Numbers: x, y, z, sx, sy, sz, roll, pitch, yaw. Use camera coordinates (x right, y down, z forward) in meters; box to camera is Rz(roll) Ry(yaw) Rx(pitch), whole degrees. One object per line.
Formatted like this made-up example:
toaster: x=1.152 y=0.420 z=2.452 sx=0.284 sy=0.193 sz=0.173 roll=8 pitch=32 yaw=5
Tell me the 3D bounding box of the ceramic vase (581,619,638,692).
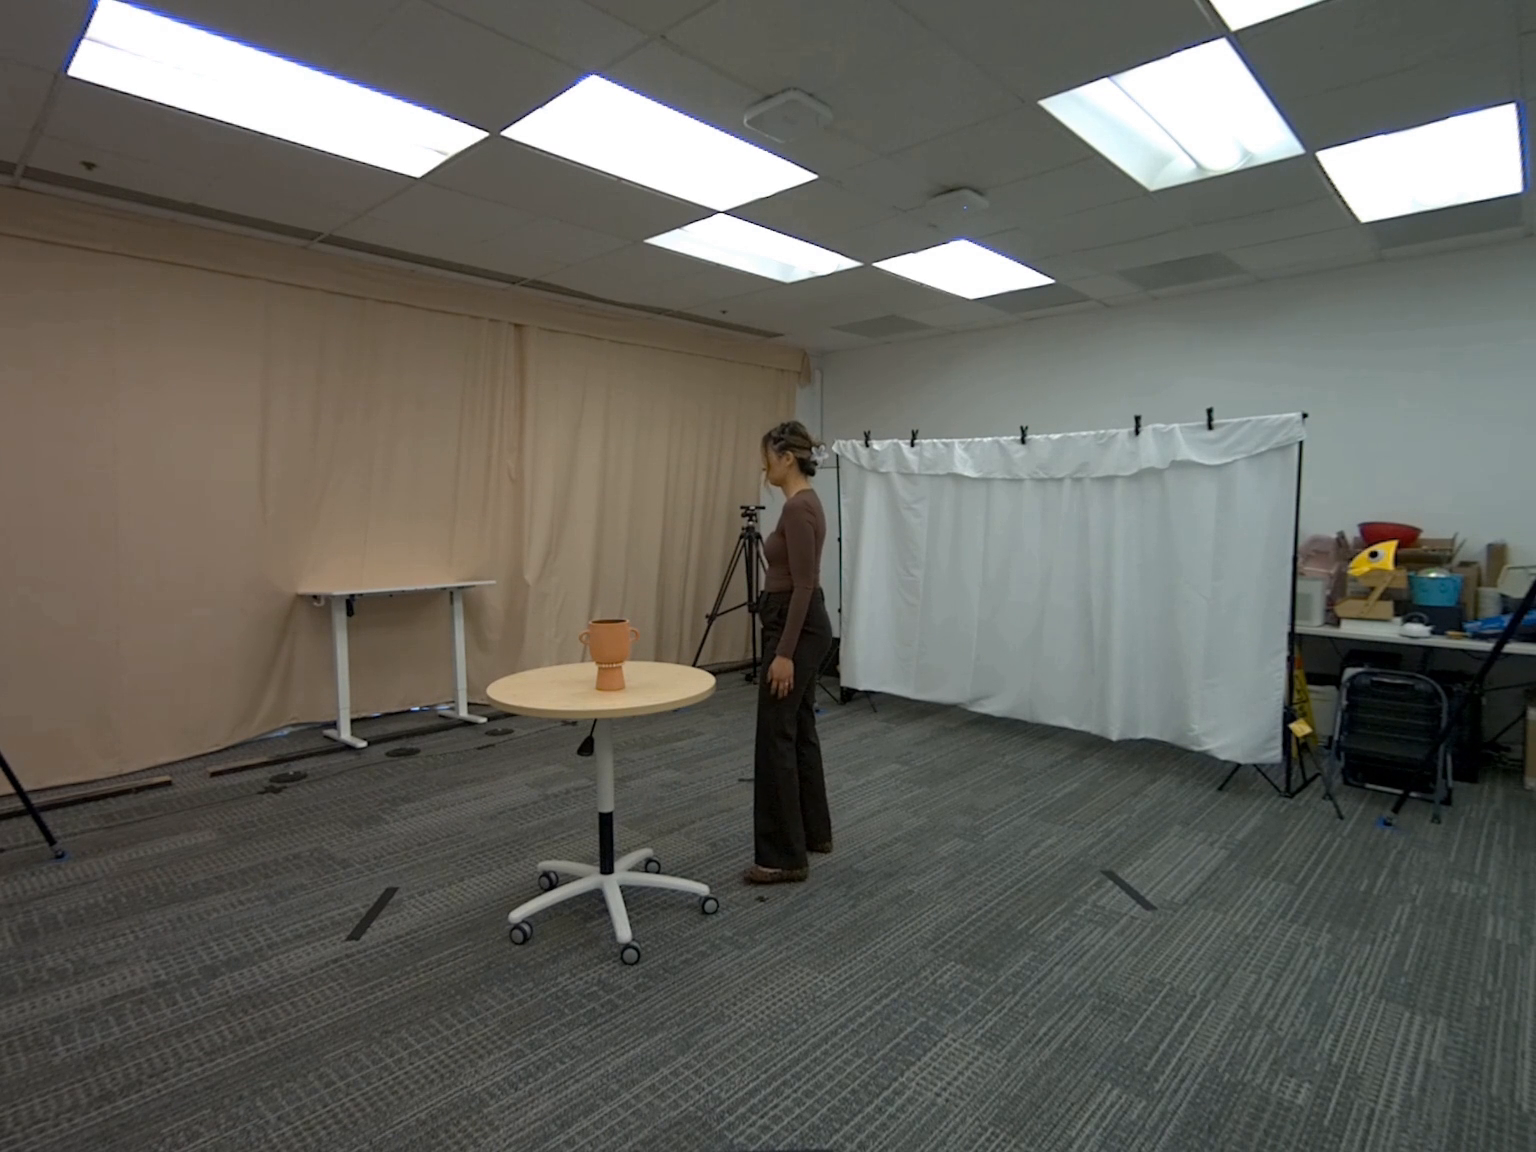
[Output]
ceramic vase: x=-0.520 y=0.261 z=2.758 sx=0.162 sy=0.219 sz=0.132 roll=0 pitch=4 yaw=20
